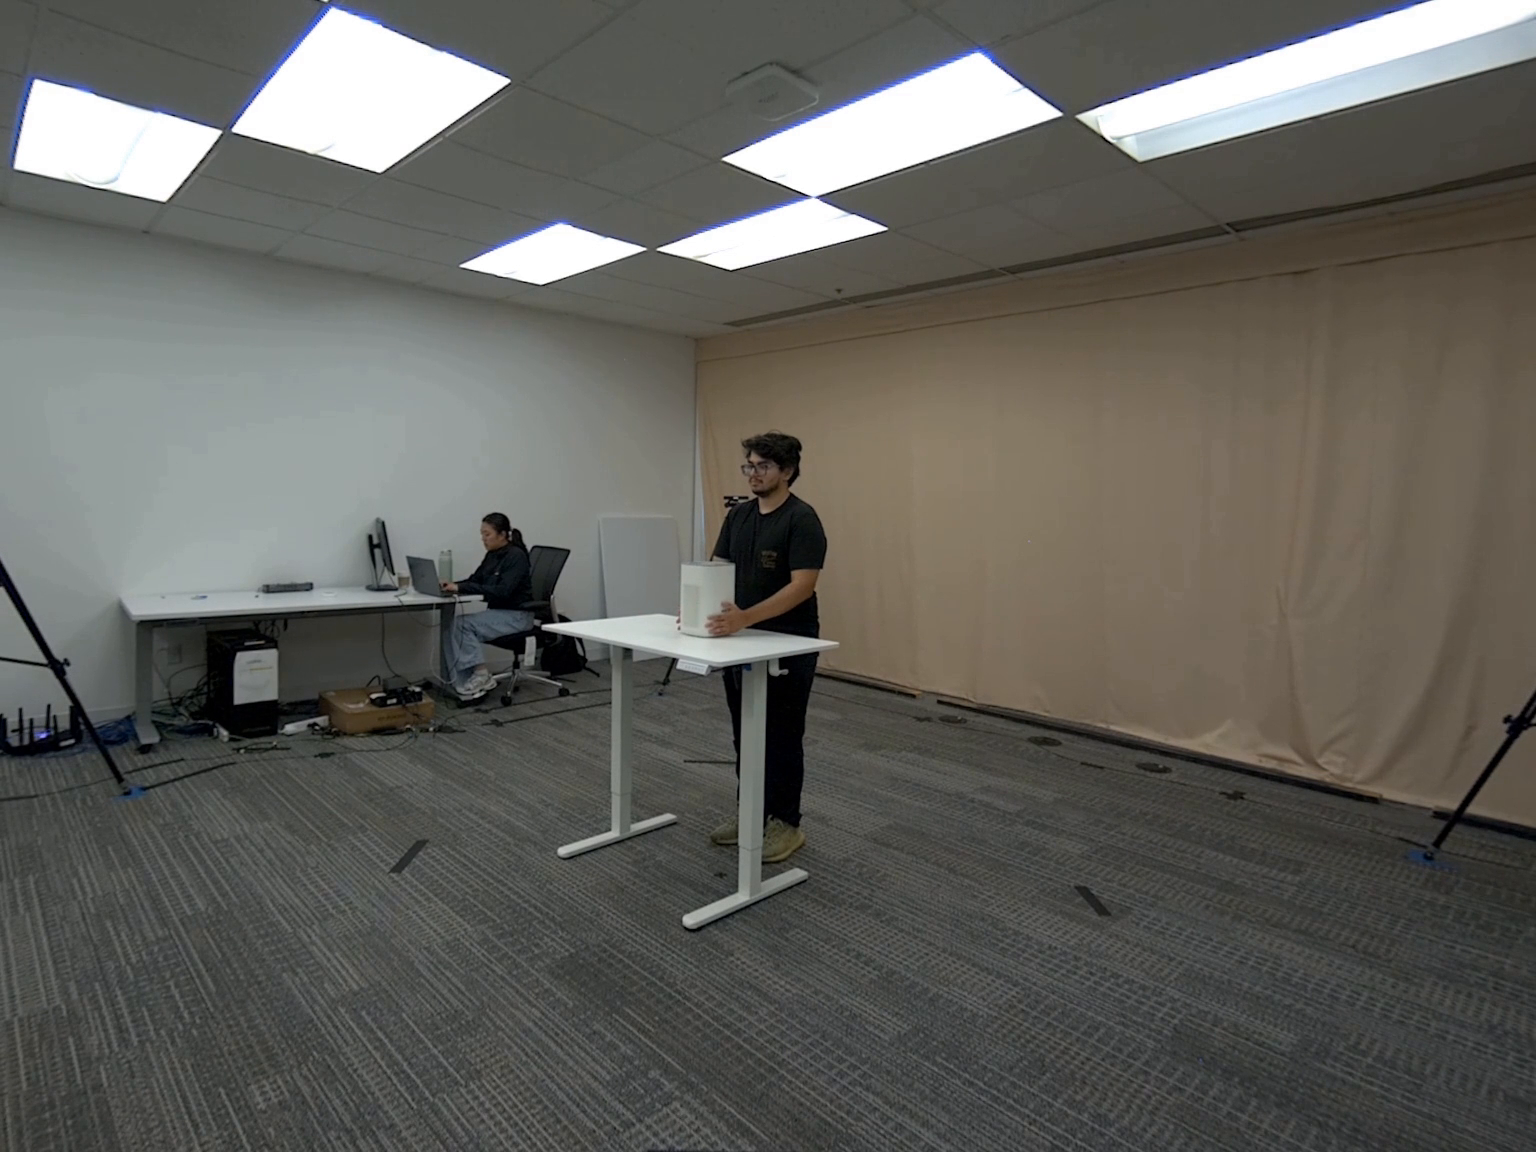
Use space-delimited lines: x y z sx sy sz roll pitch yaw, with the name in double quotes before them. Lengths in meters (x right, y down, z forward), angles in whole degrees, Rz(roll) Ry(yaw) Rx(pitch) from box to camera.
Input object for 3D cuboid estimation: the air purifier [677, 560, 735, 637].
"air purifier" -0.232 0.081 3.105 0.176 0.265 0.167 4 3 43
